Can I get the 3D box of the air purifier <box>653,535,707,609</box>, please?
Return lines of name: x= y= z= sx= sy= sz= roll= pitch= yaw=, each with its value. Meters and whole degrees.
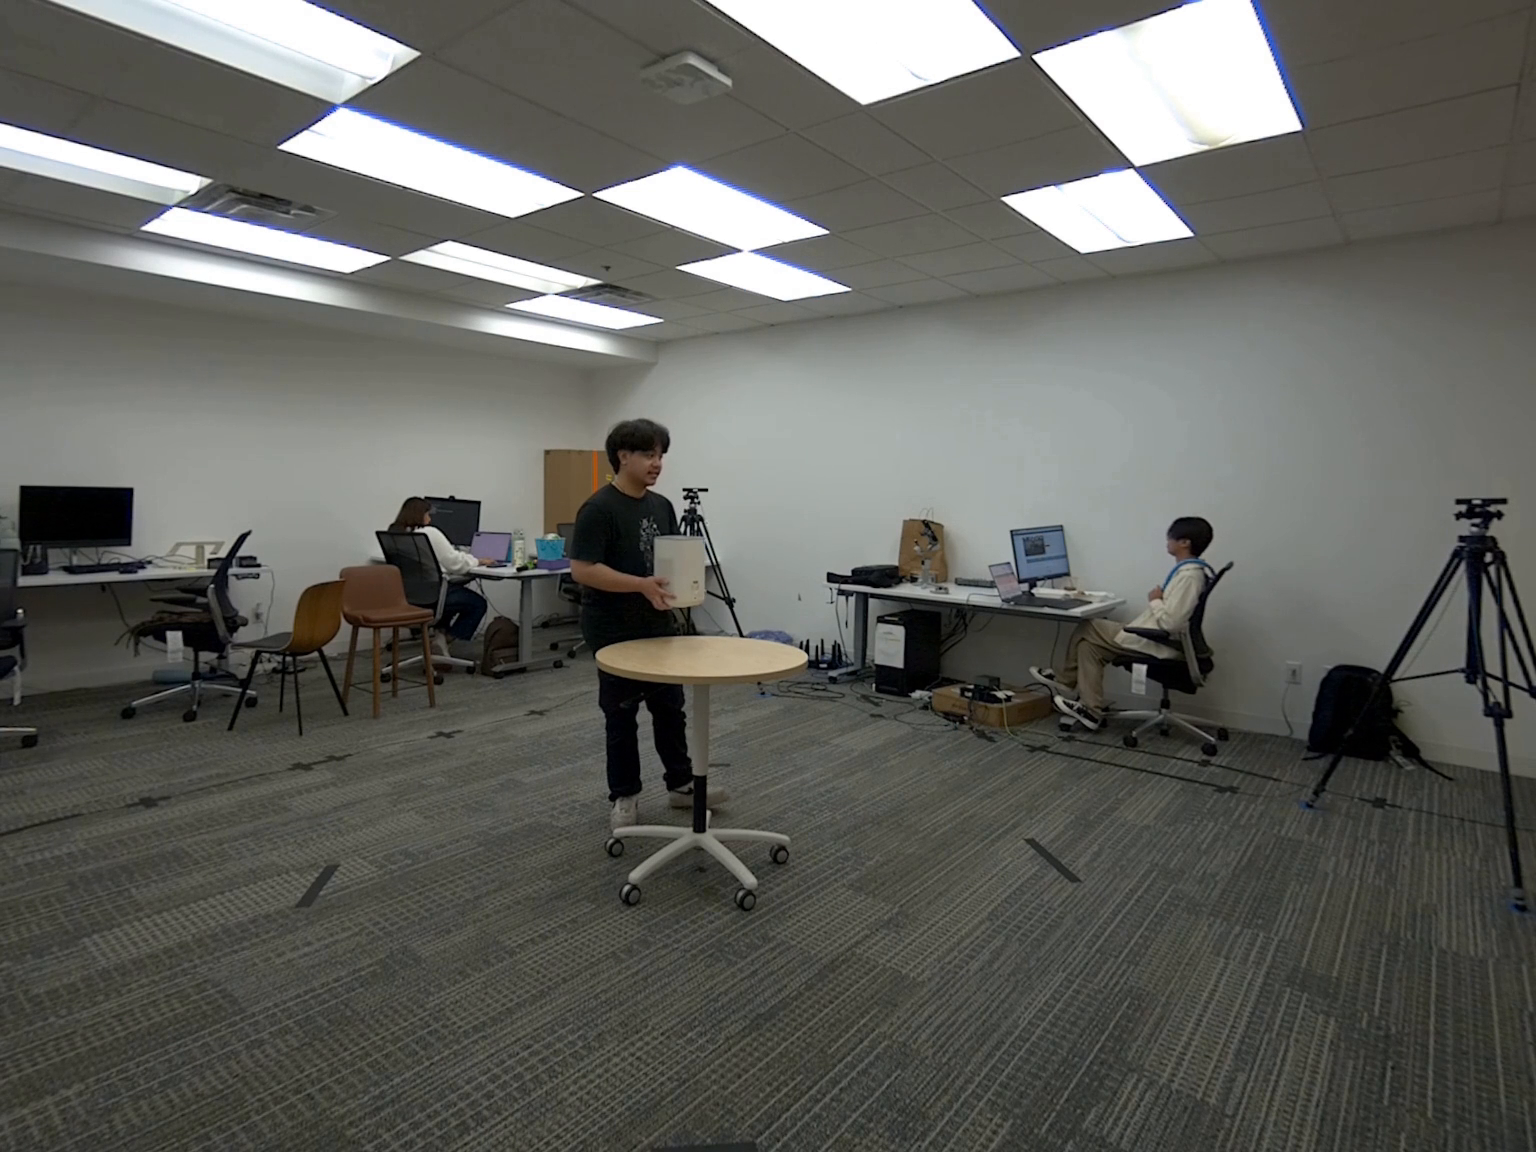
air purifier: x=-0.362 y=-0.025 z=3.329 sx=0.177 sy=0.264 sz=0.166 roll=4 pitch=5 yaw=33
